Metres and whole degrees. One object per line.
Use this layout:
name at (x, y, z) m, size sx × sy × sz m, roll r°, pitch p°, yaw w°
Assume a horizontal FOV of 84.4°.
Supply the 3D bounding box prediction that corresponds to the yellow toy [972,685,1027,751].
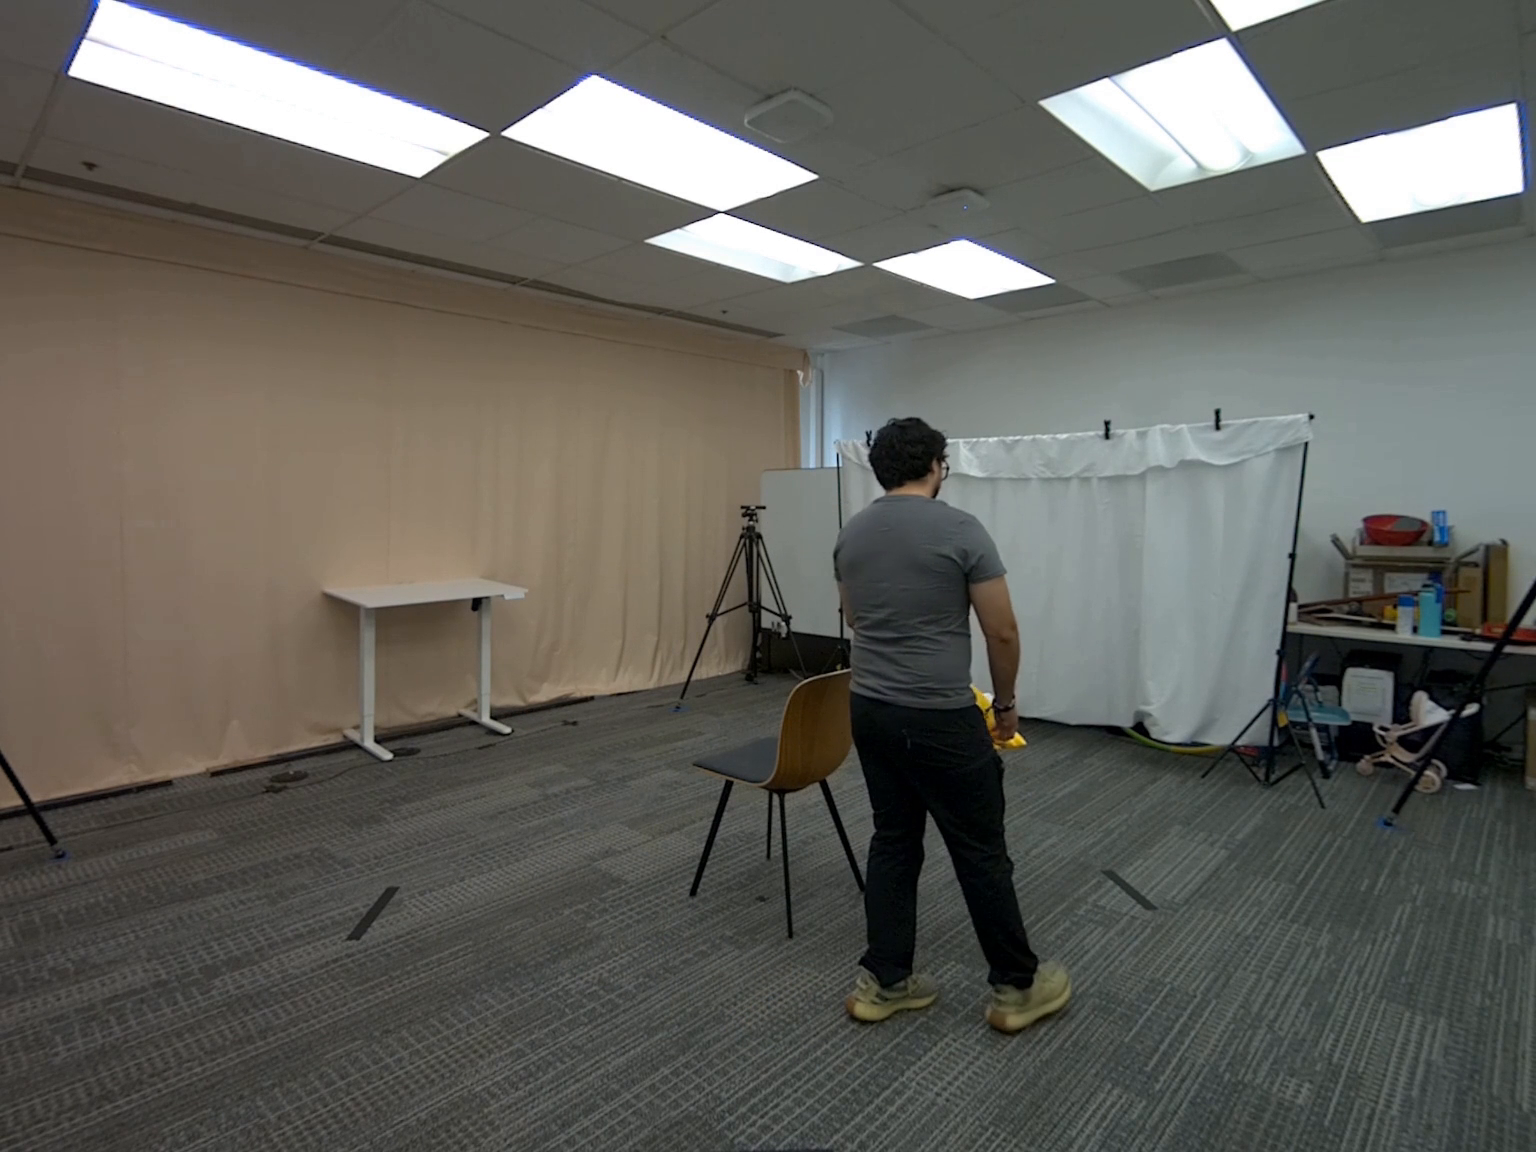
yellow toy at (0.639, 0.409, 2.492) m, size 0.198 × 0.233 × 0.196 m, roll 1°, pitch -19°, yaw -36°
